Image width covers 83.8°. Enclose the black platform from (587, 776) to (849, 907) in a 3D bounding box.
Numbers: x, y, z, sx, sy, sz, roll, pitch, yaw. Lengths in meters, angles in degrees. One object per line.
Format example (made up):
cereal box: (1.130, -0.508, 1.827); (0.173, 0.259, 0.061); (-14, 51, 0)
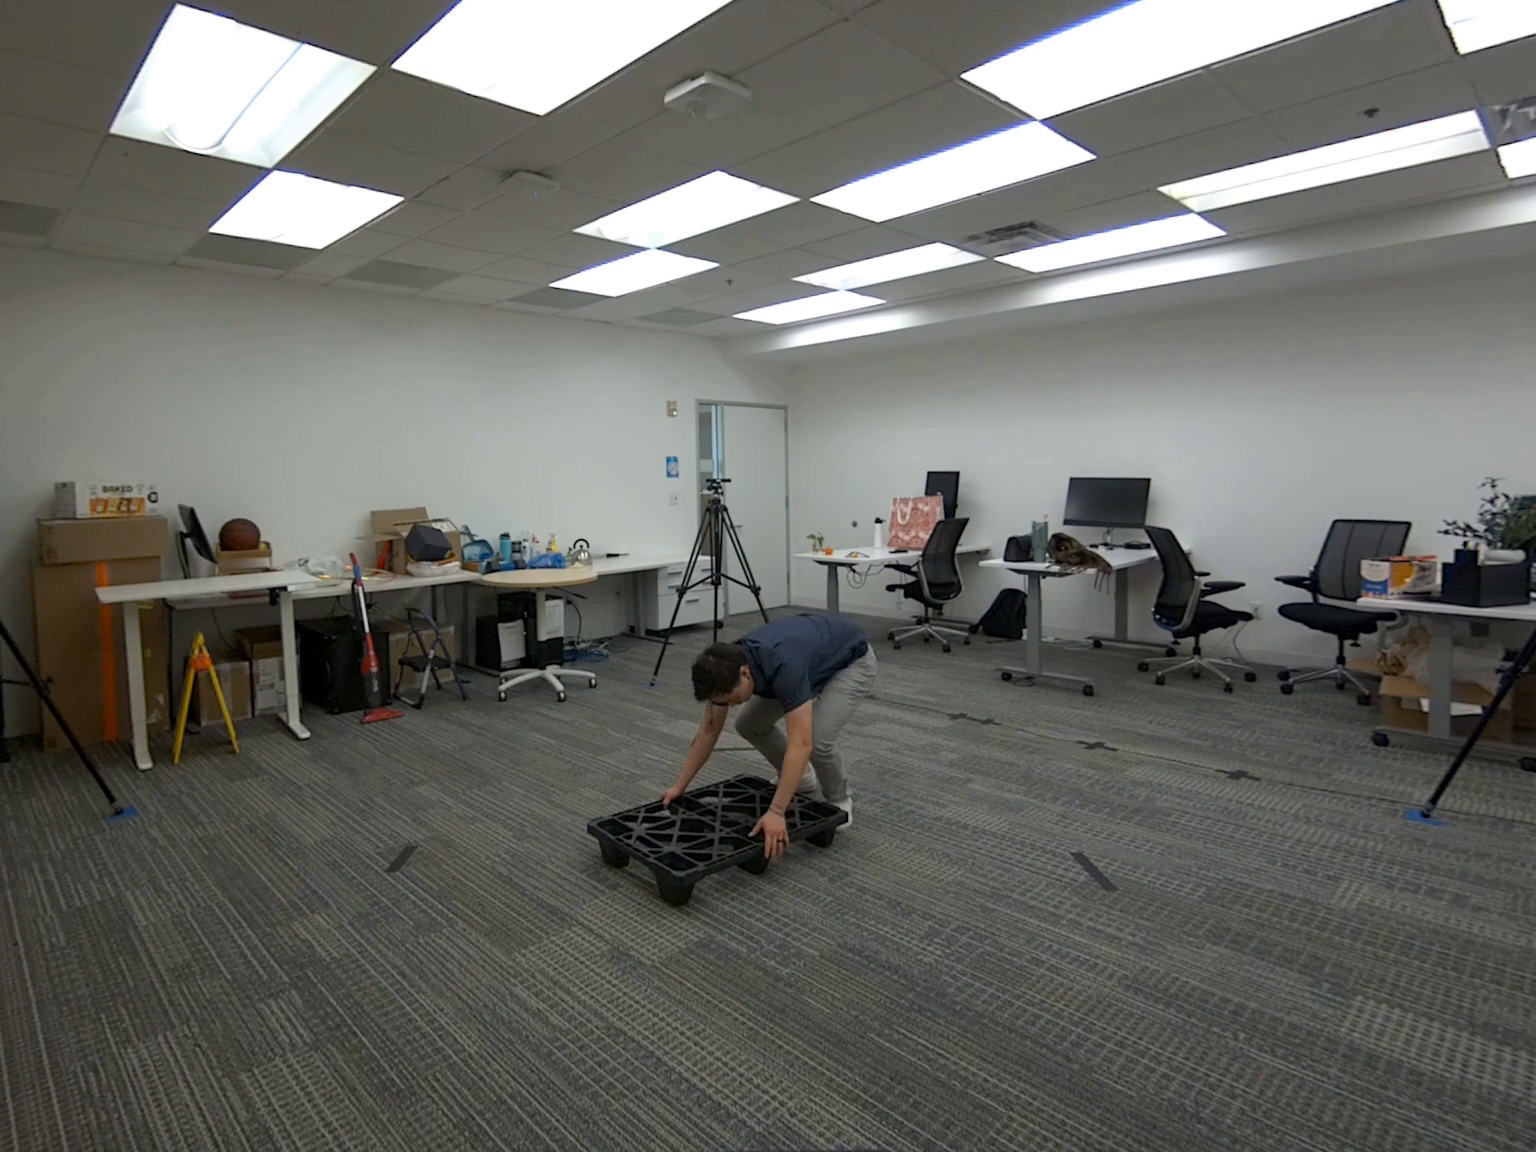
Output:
black platform: (-0.186, 0.969, 3.197); (0.784, 0.143, 0.623); (-6, 7, -40)
